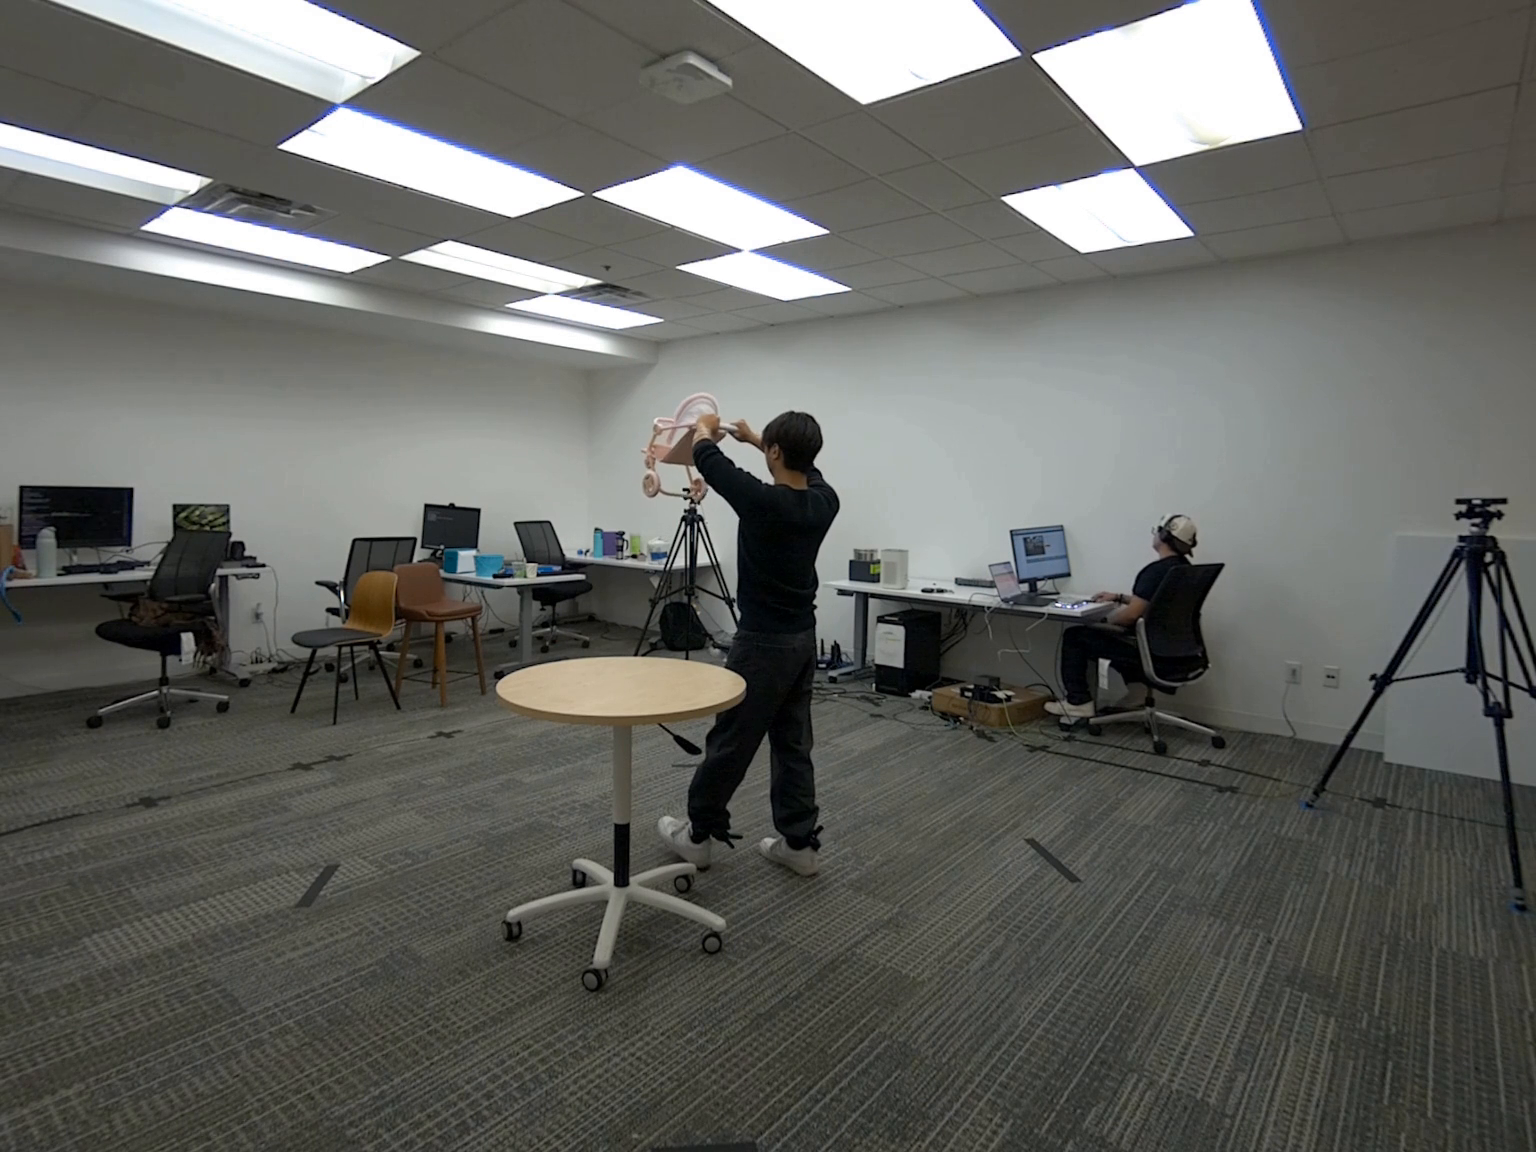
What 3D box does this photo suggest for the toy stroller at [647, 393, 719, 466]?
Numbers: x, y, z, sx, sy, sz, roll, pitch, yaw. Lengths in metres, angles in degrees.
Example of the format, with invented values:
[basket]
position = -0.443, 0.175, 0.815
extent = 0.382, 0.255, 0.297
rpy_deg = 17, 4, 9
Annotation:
[toy stroller]
position = -0.370, -0.562, 3.601
extent = 0.272, 0.354, 0.532
rpy_deg = 6, -44, -36
